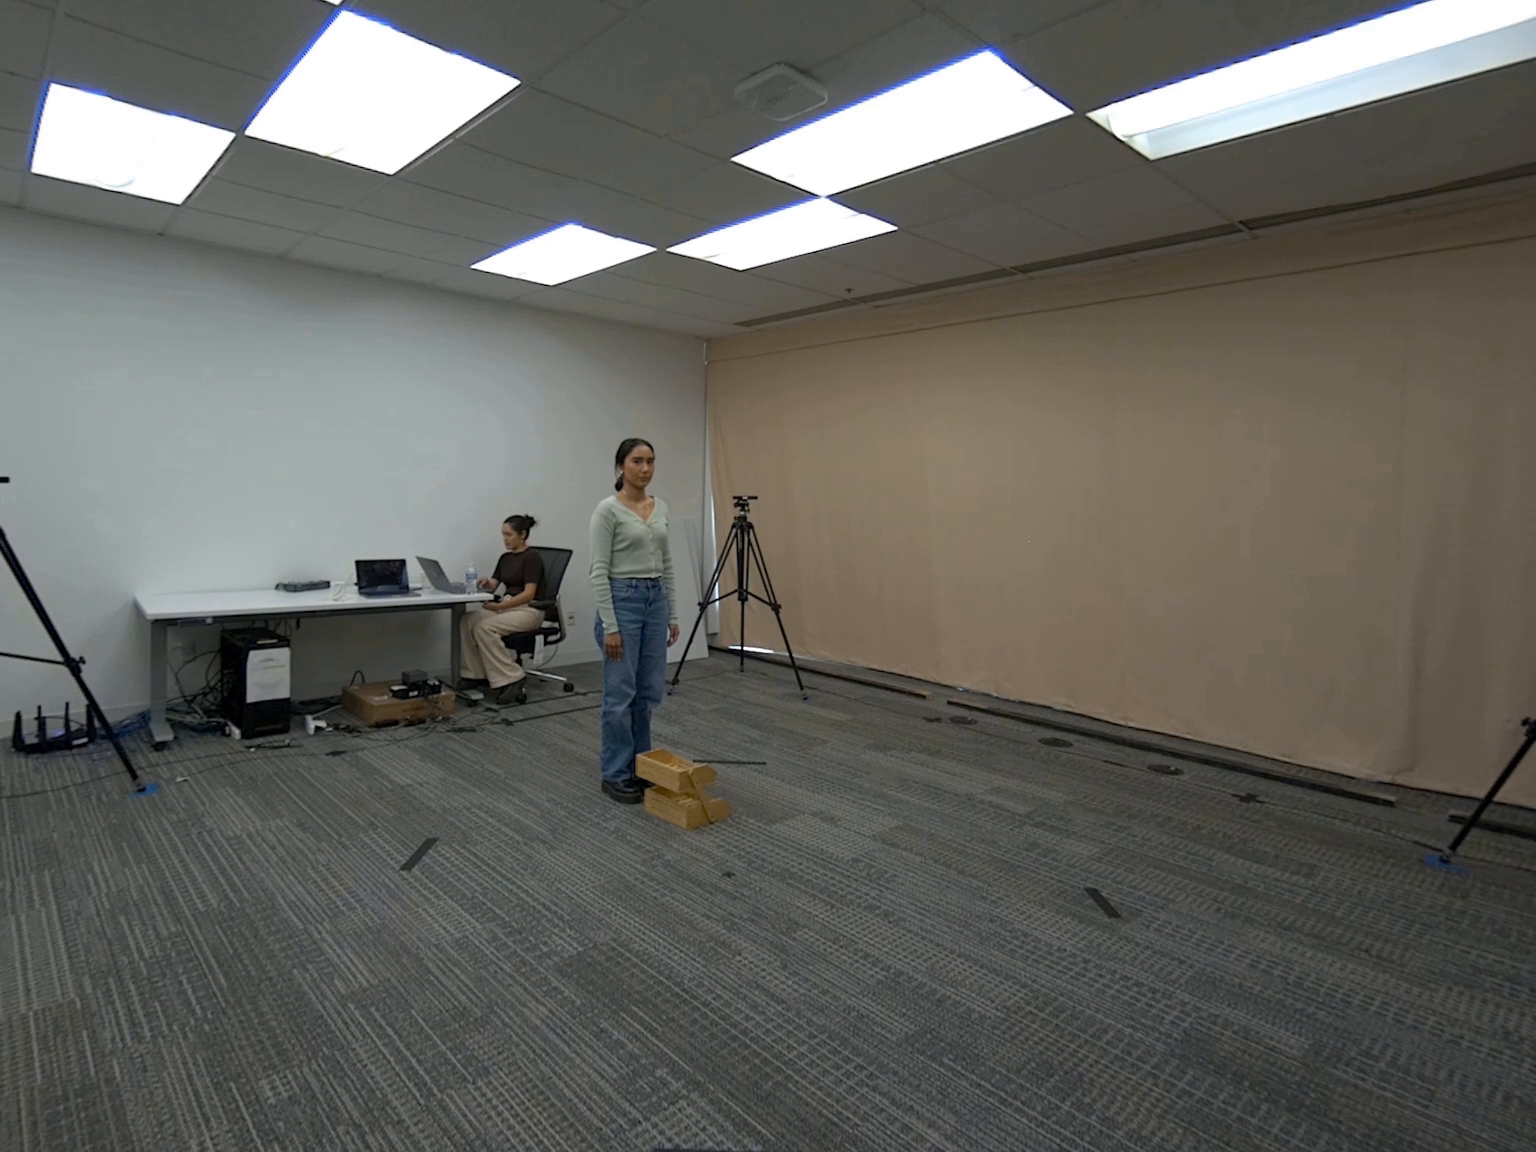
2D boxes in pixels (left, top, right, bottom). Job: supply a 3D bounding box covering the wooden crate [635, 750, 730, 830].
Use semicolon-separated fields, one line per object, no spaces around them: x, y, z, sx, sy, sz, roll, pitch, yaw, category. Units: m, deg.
-0.378;0.913;3.685;0.295;0.272;0.333;-4;7;-44;wooden crate
